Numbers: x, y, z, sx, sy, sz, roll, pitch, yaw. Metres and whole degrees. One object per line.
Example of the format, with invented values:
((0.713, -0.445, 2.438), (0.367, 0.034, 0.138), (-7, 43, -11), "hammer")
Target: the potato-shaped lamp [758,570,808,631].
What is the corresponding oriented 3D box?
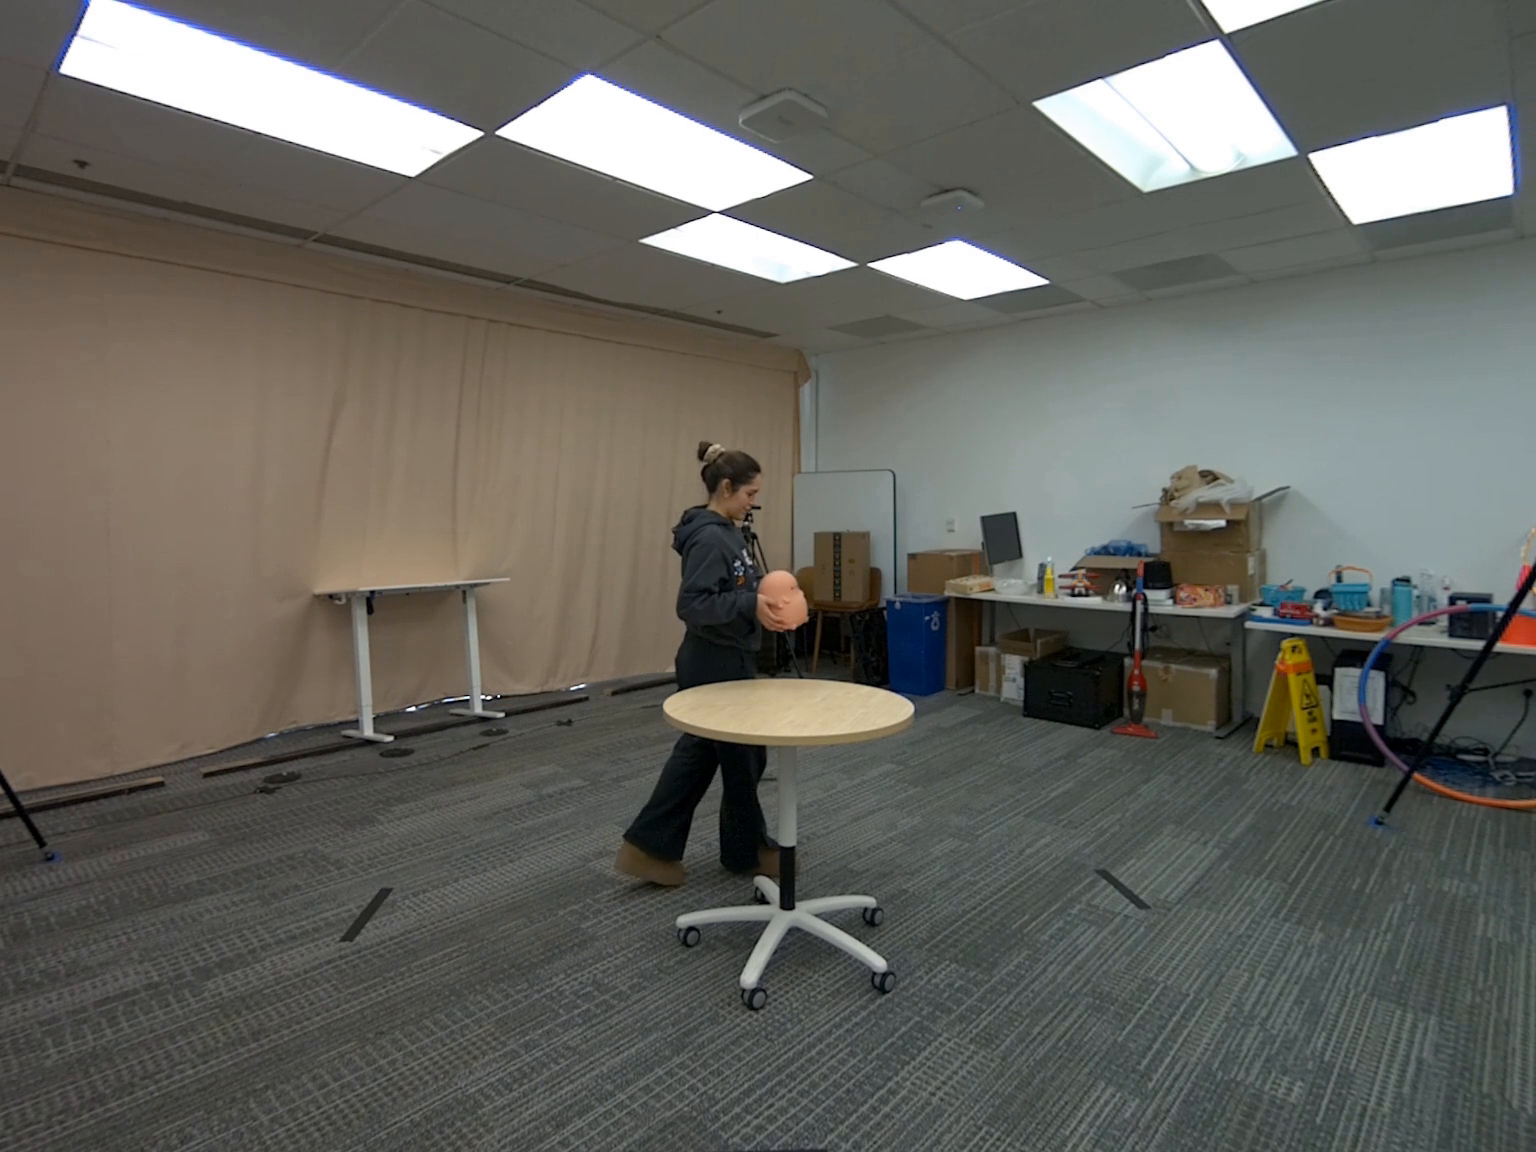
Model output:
((0.050, 0.076, 2.925), (0.176, 0.197, 0.161), (2, 11, 31), "potato-shaped lamp")
